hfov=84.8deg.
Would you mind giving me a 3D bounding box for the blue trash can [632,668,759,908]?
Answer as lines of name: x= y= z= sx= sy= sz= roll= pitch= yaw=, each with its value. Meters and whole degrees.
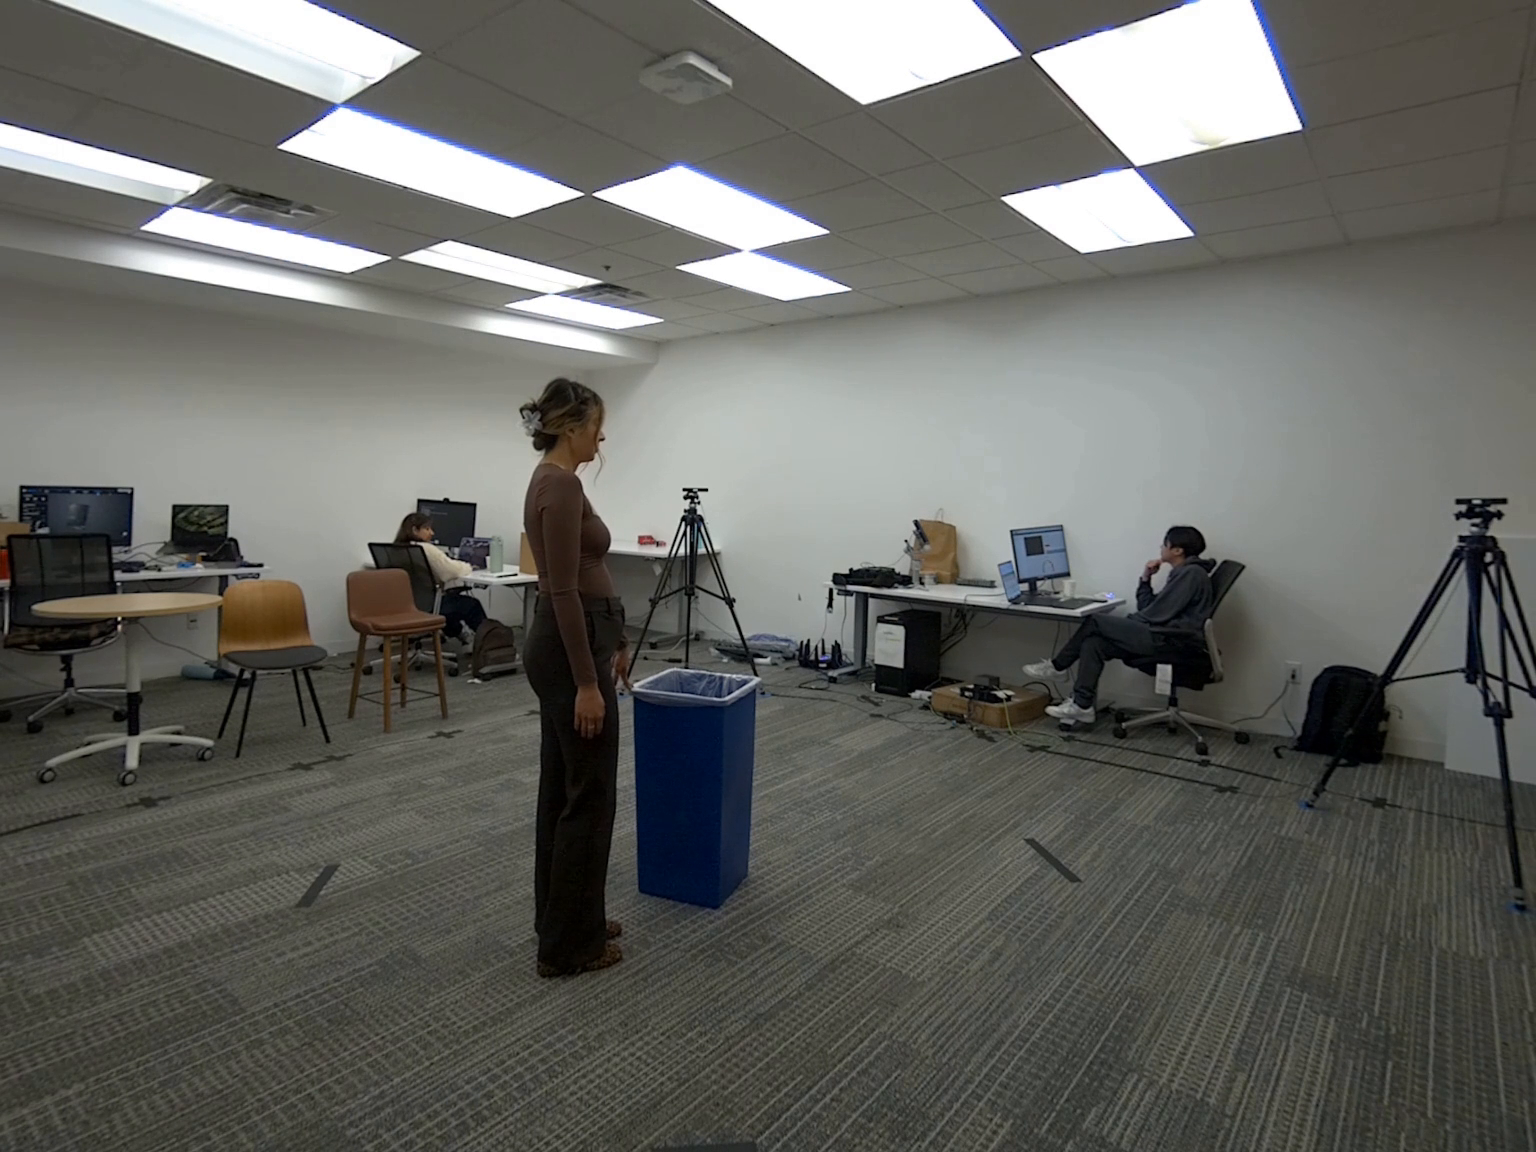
blue trash can: x=-0.261 y=0.722 z=2.978 sx=0.387 sy=0.712 sz=0.366 roll=2 pitch=3 yaw=21
